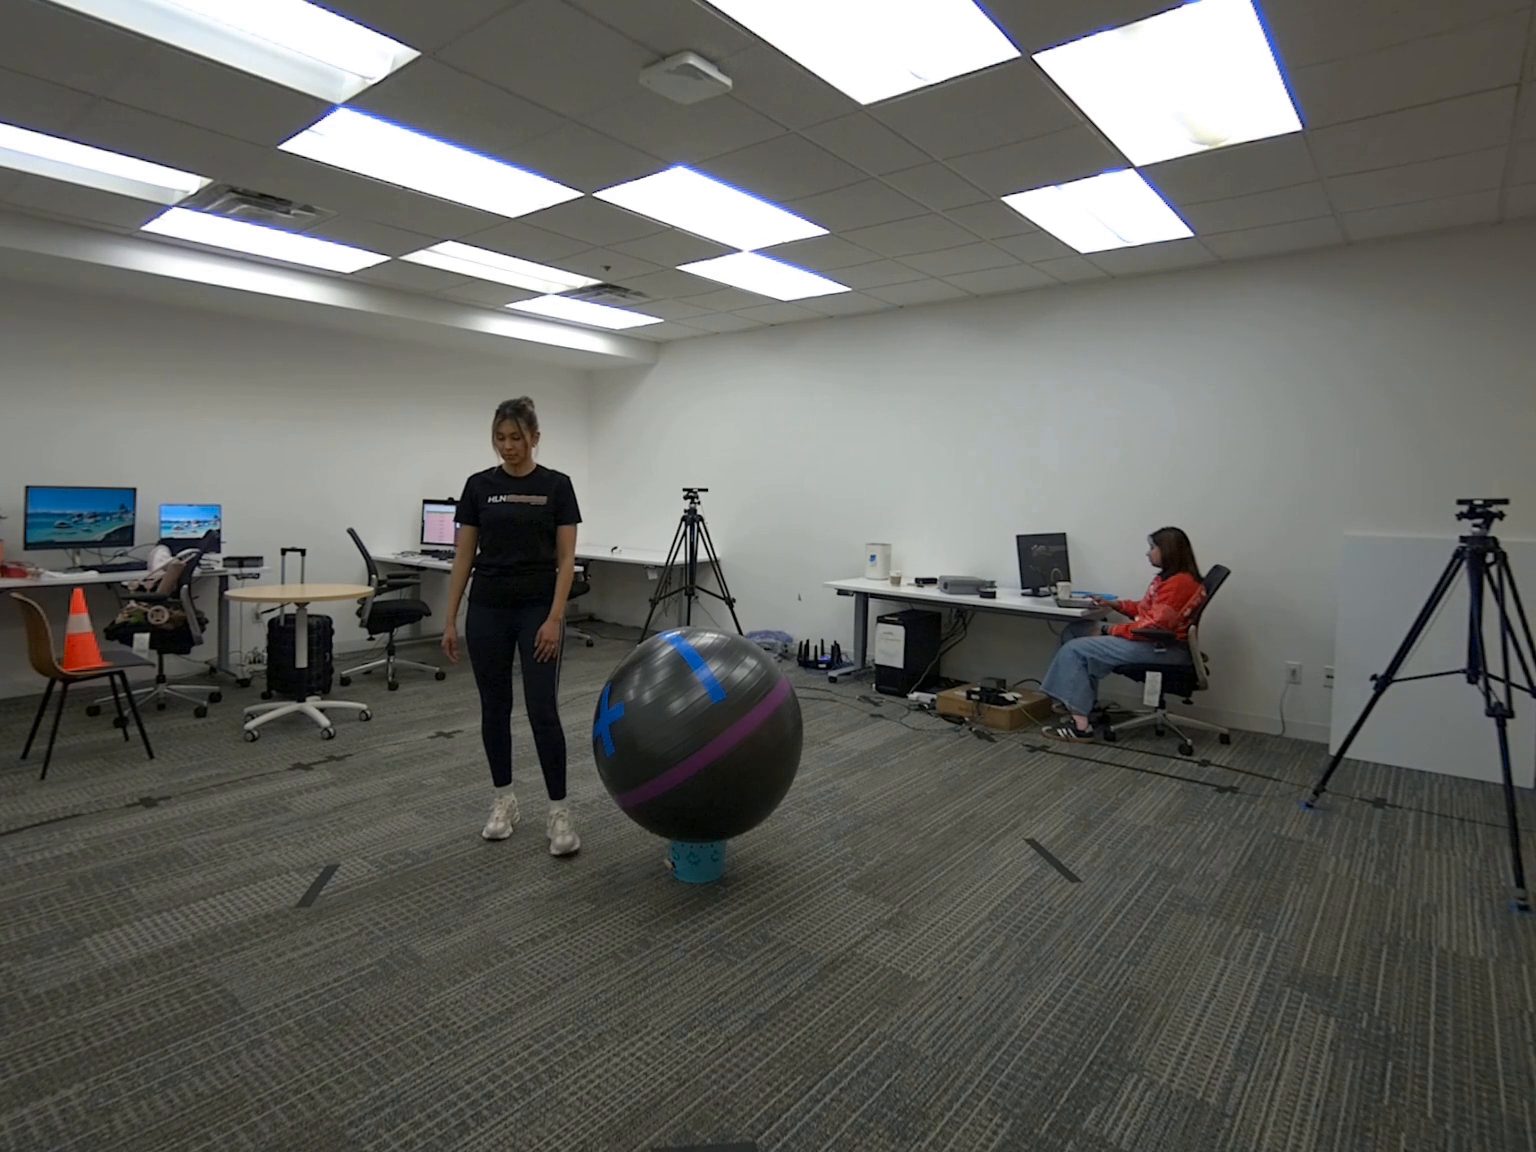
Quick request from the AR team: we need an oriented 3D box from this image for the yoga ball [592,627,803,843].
[{"bbox_3d":[-0.264,0.565,3.067,0.757,0.755,0.762,1,4,-2],"label":"yoga ball"}]
